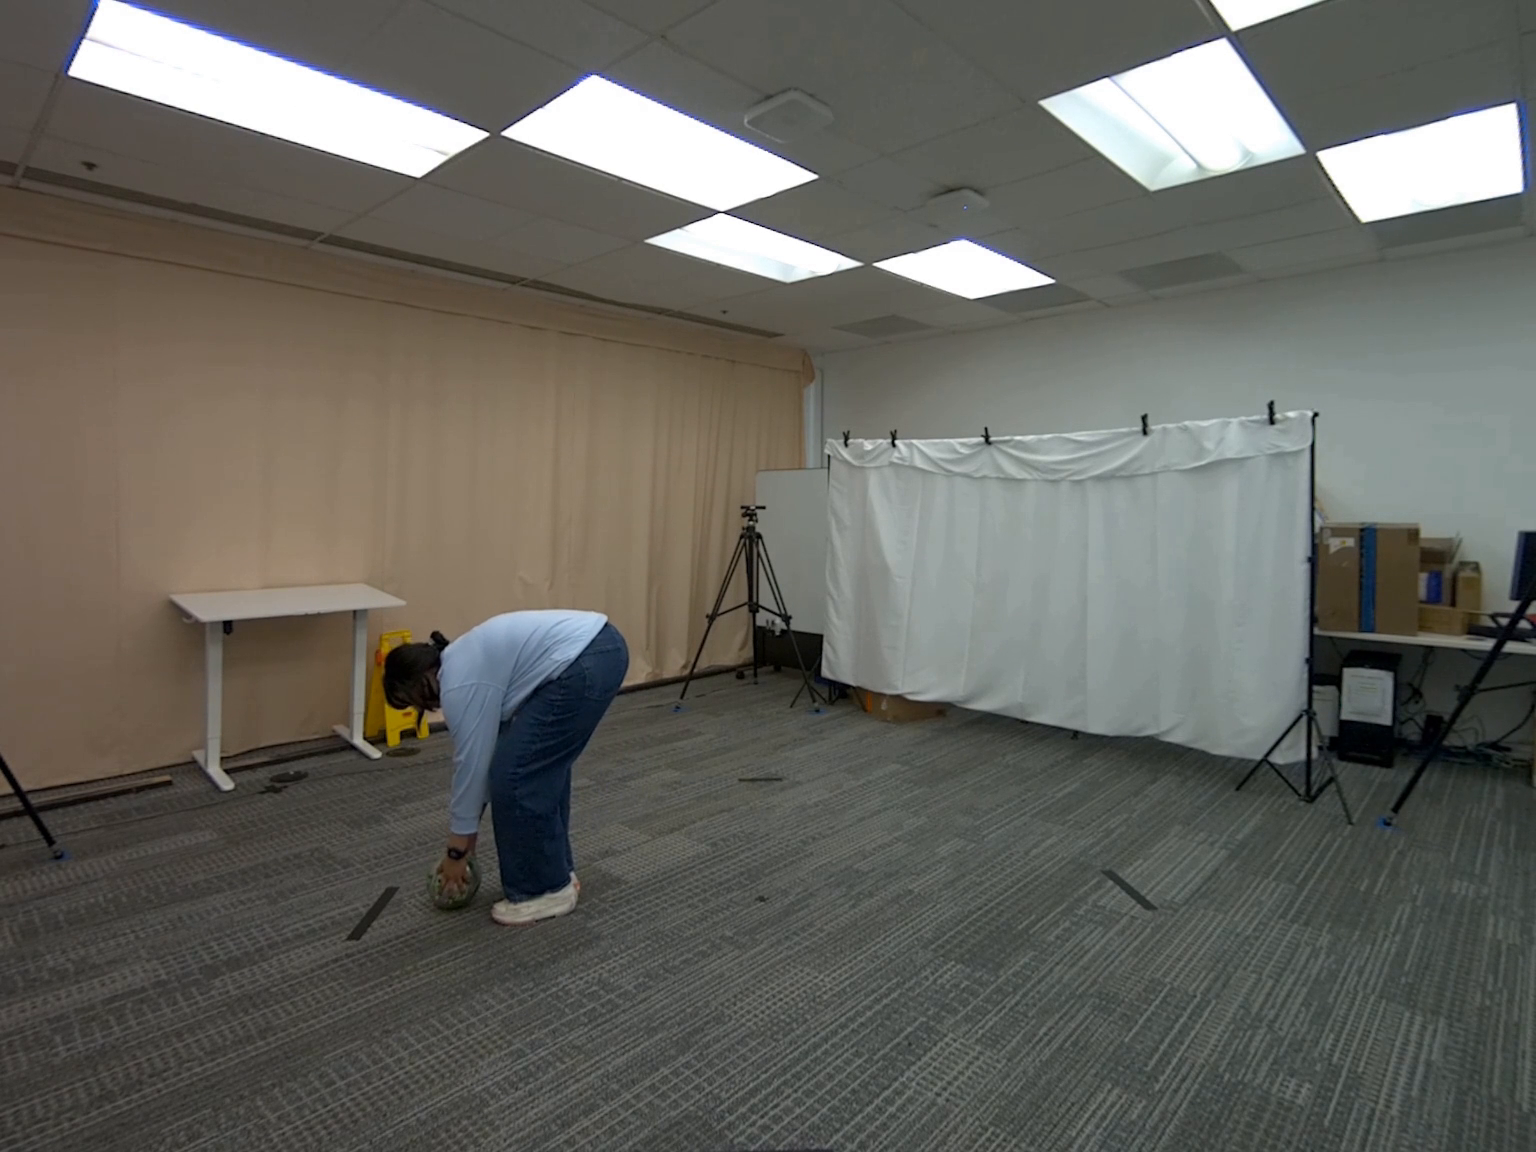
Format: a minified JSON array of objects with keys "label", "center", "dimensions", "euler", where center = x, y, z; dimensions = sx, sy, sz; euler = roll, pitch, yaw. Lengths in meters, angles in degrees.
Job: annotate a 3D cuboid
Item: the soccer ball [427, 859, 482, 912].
[{"label":"soccer ball","center":[-1.102,1.063,2.945],"dimensions":[0.187,0.187,0.188],"euler":[0,4,-2]}]
